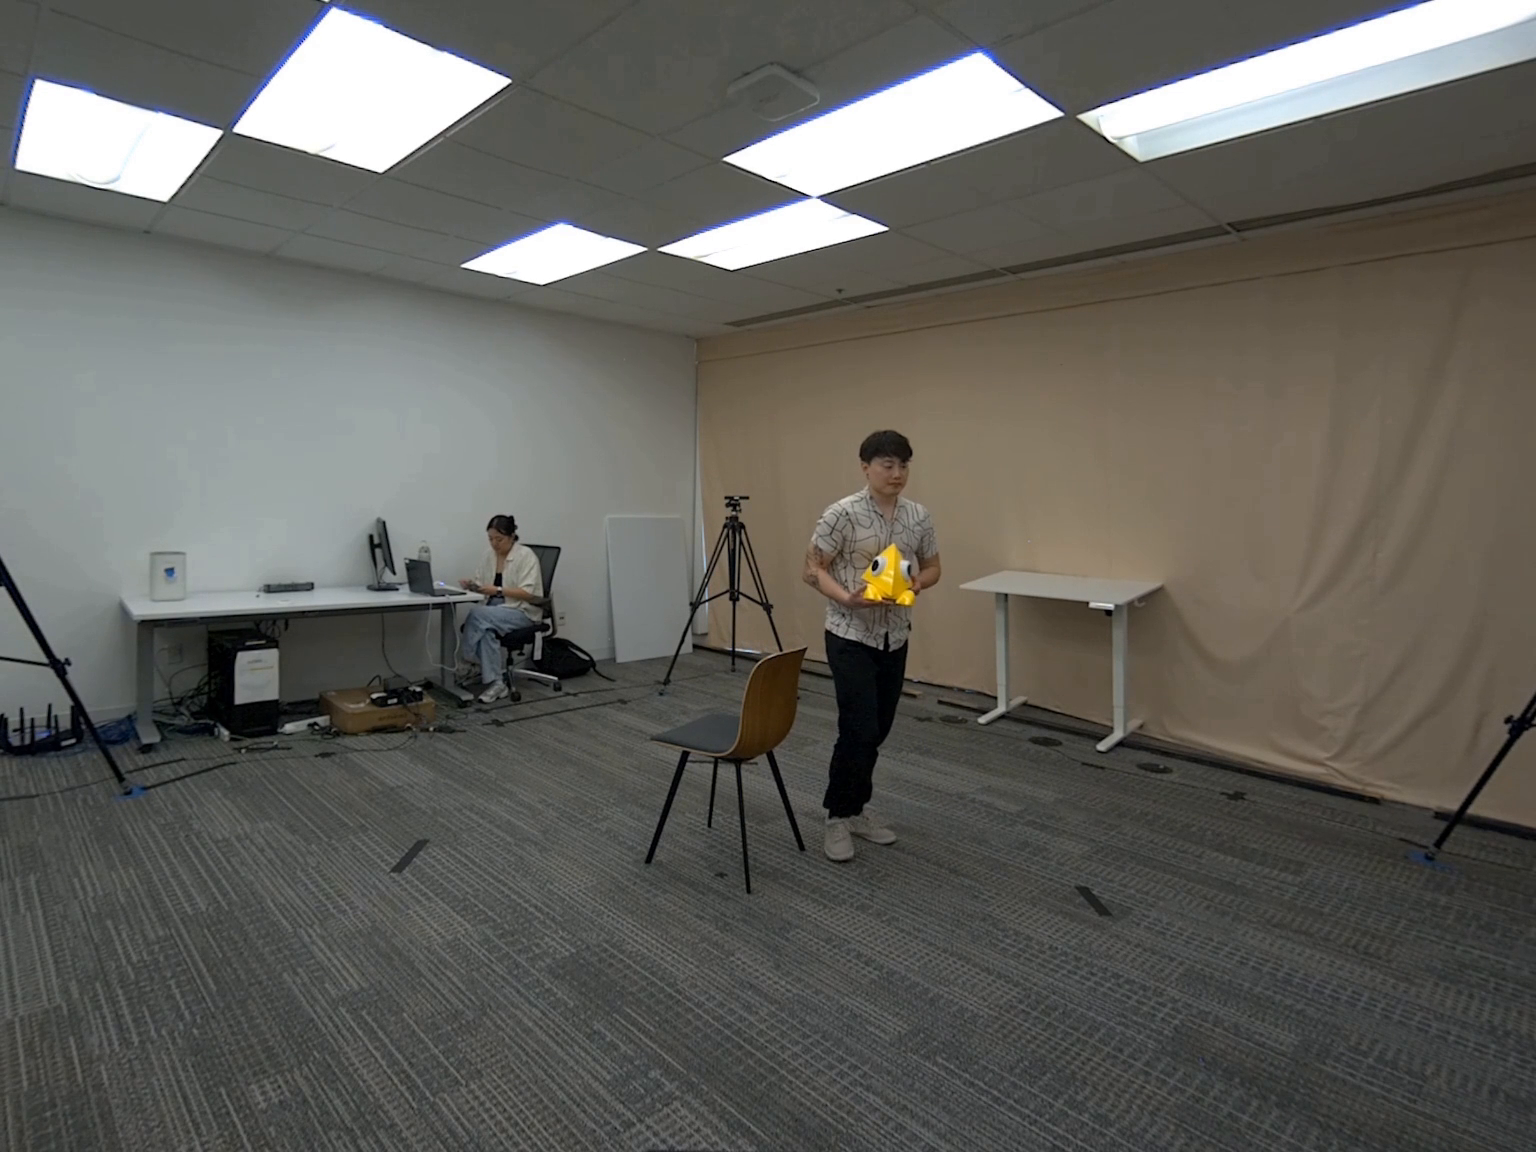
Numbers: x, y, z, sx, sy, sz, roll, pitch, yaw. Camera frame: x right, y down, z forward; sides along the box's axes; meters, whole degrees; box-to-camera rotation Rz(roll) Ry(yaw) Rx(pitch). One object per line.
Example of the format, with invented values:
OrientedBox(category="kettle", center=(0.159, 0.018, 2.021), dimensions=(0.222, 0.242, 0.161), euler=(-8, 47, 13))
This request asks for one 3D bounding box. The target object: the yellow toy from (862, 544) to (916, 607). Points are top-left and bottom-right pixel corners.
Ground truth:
OrientedBox(category="yellow toy", center=(0.452, -0.011, 3.187), dimensions=(0.206, 0.231, 0.192), euler=(8, -3, 4))
